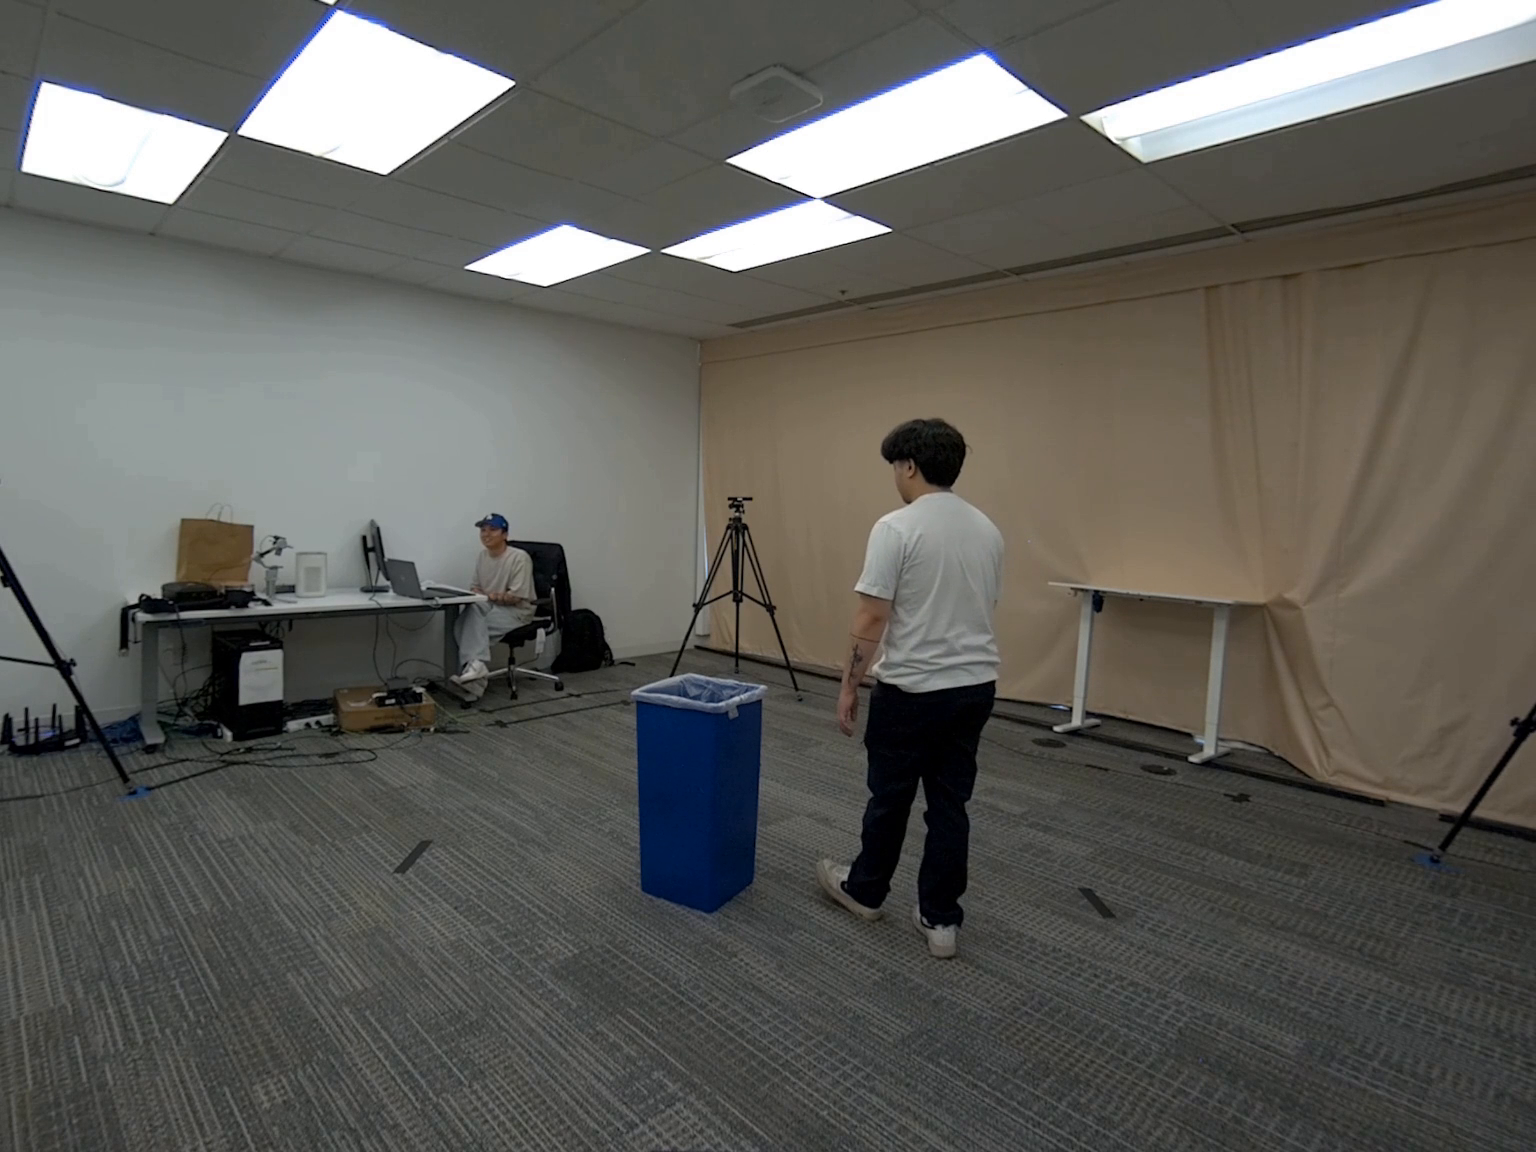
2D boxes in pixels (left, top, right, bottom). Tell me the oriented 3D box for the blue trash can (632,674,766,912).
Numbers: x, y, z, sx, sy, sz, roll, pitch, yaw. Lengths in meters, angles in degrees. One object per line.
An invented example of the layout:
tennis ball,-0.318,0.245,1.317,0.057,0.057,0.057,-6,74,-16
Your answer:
blue trash can,-0.255,0.754,3.007,0.382,0.712,0.371,4,4,29
